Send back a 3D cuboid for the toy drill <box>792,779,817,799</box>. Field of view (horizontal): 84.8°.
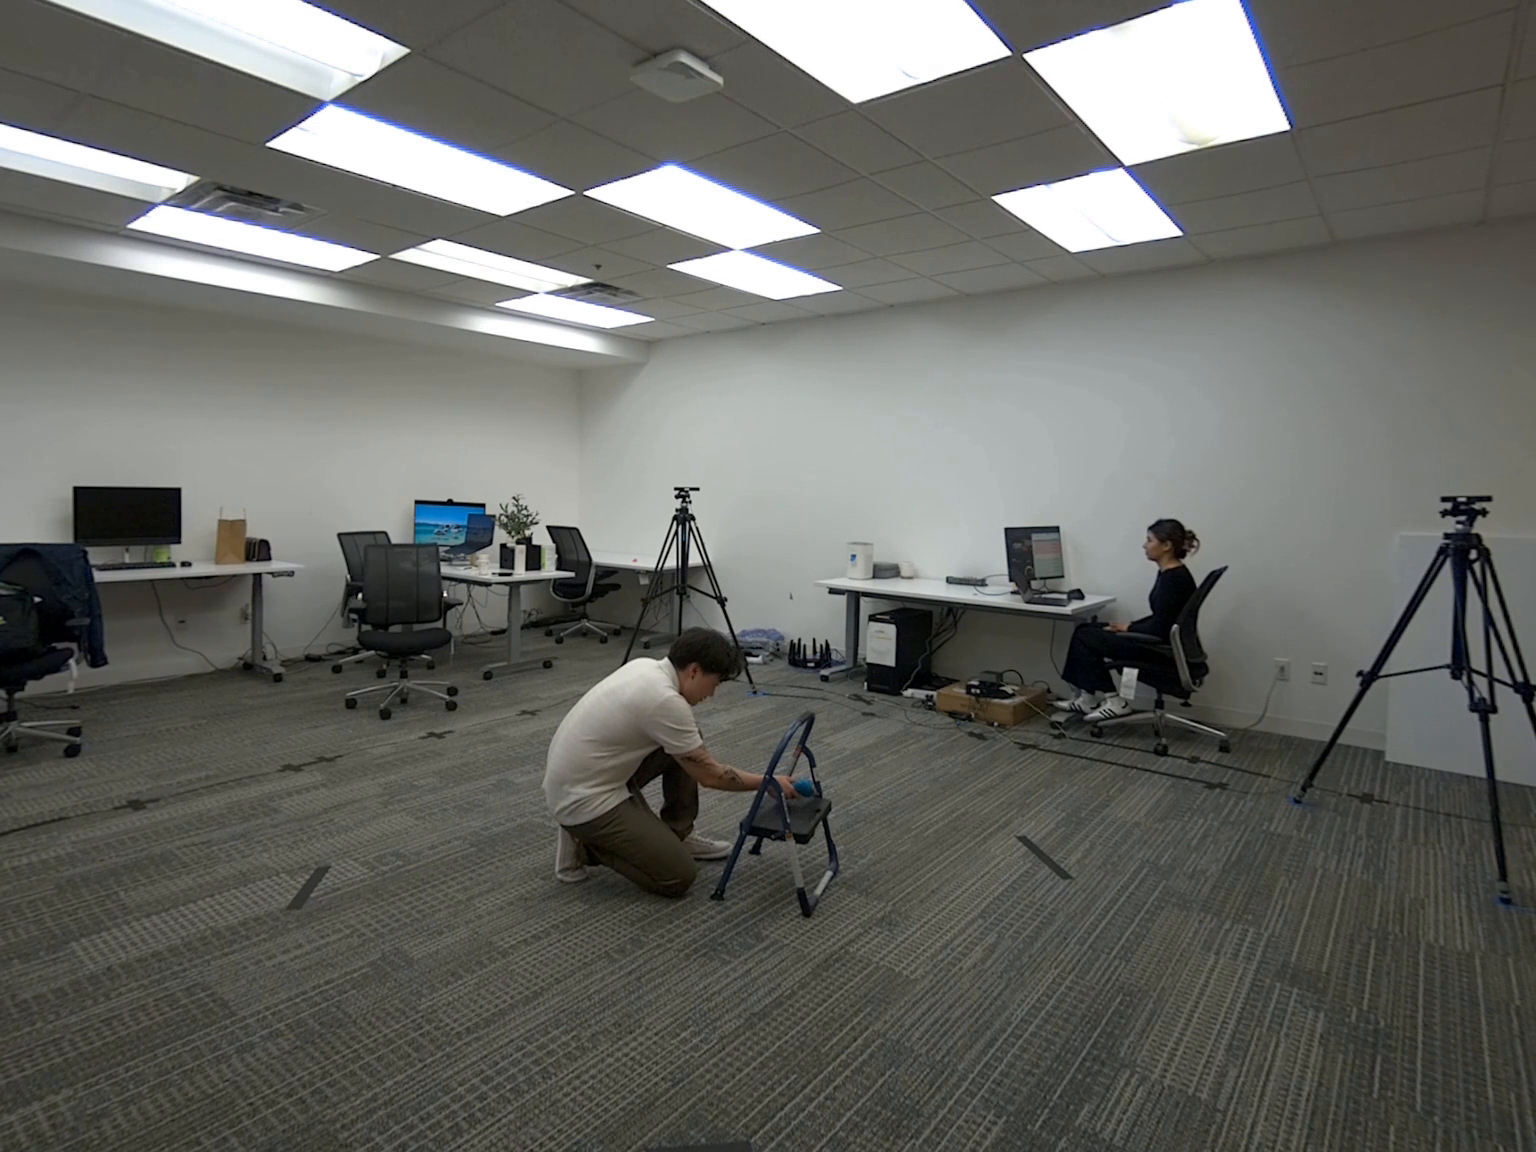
[{"bbox_3d":[0.093,0.772,3.090,0.150,0.062,0.163,-5,-28,31],"label":"toy drill"}]
